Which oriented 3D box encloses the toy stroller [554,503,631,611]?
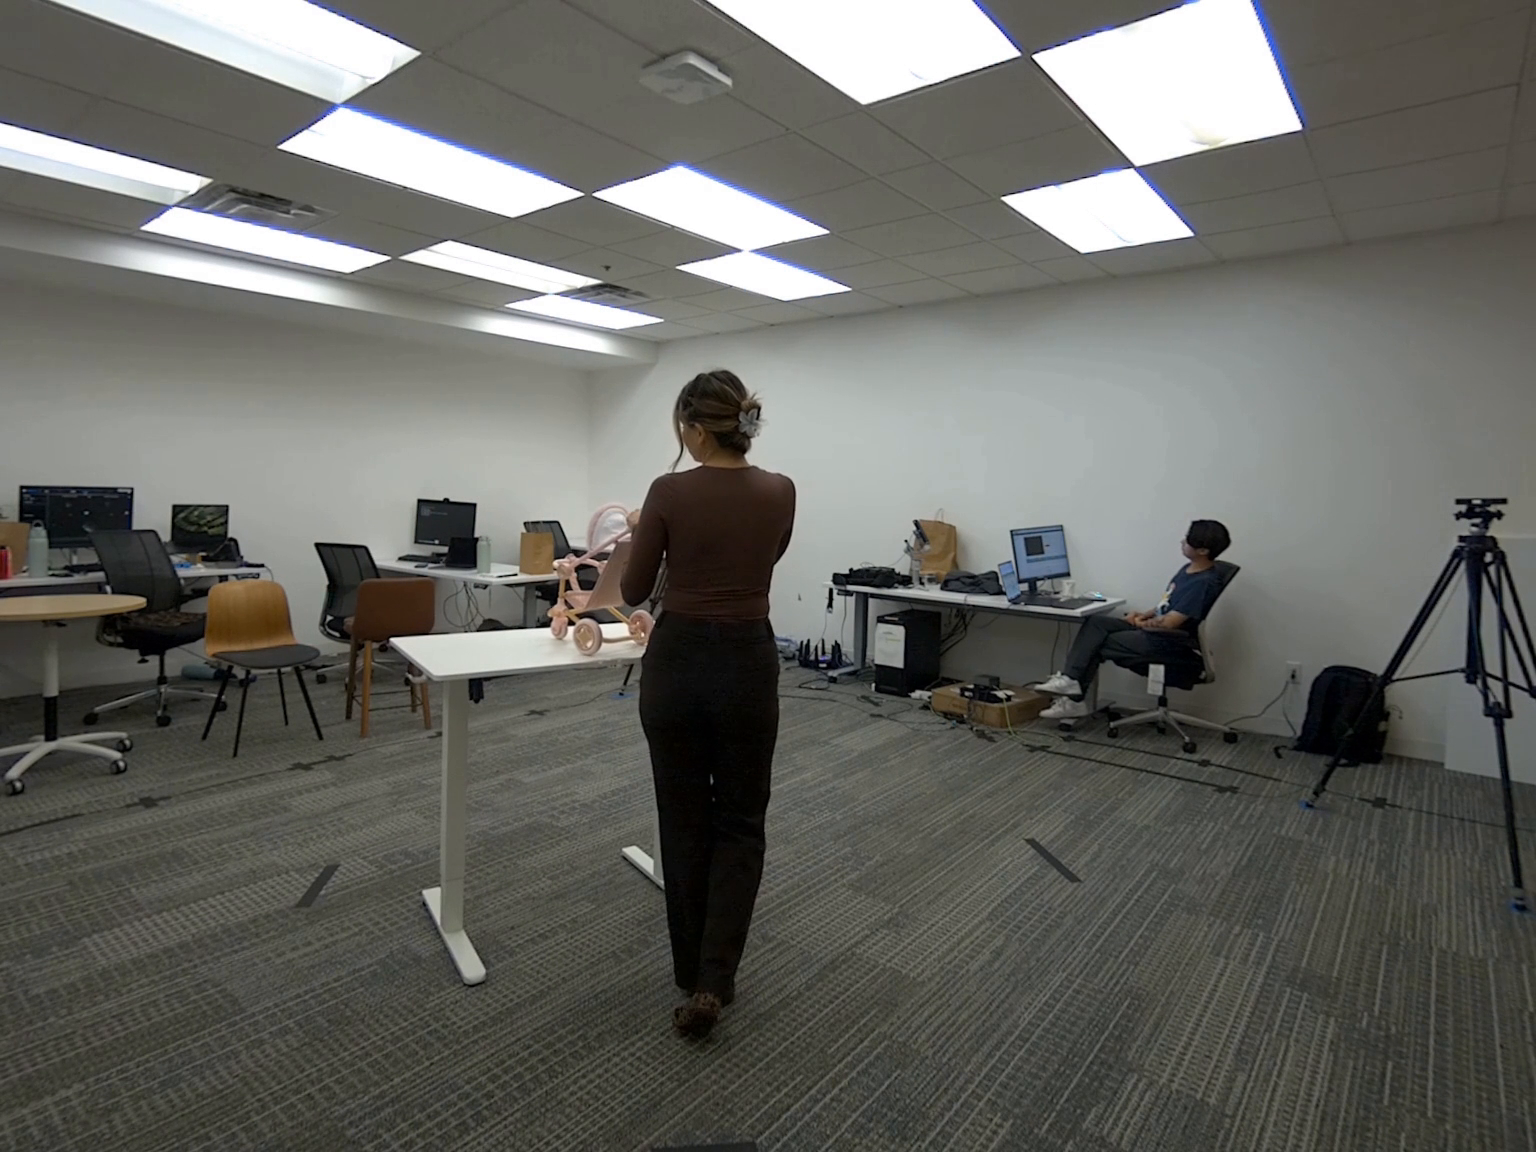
[{"bbox_3d":[-0.527,0.003,2.689,0.355,0.531,0.273,25,15,35],"label":"toy stroller"}]
